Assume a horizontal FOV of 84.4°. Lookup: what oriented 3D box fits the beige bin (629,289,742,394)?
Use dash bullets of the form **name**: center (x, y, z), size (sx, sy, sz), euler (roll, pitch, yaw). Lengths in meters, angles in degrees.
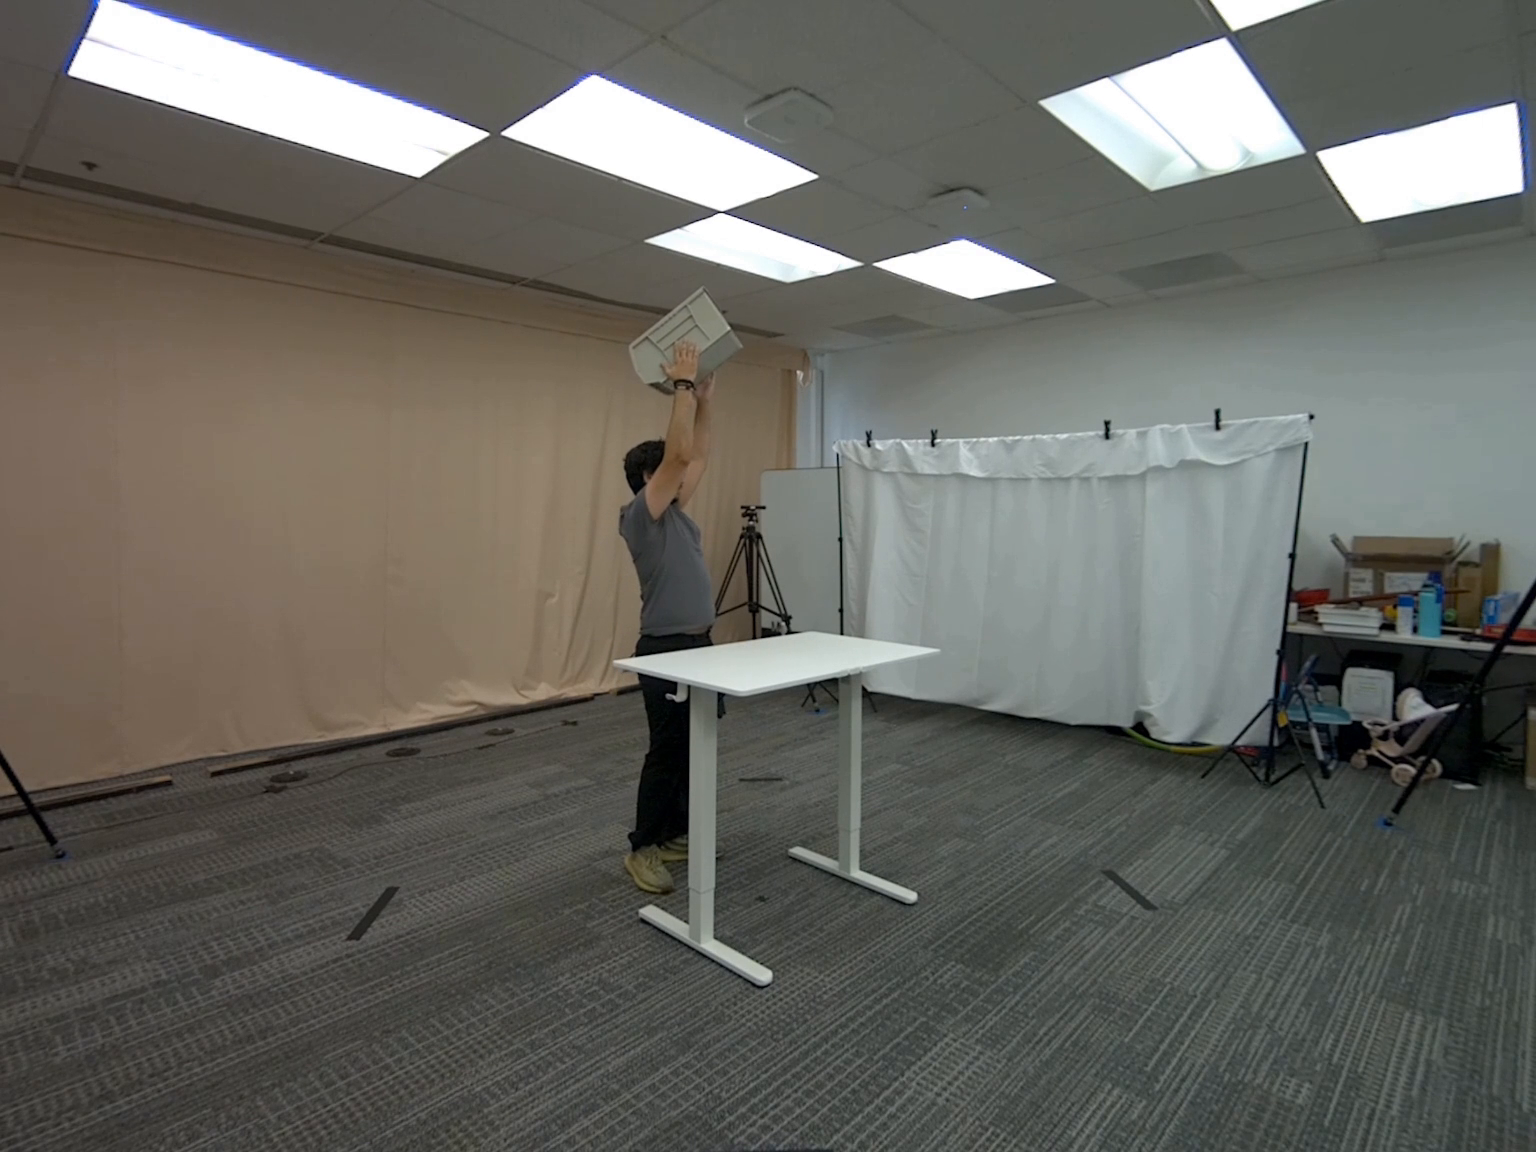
- **beige bin**: center (-0.304, -0.864, 3.200), size (0.379, 0.189, 0.420), euler (-34, 2, 8)
